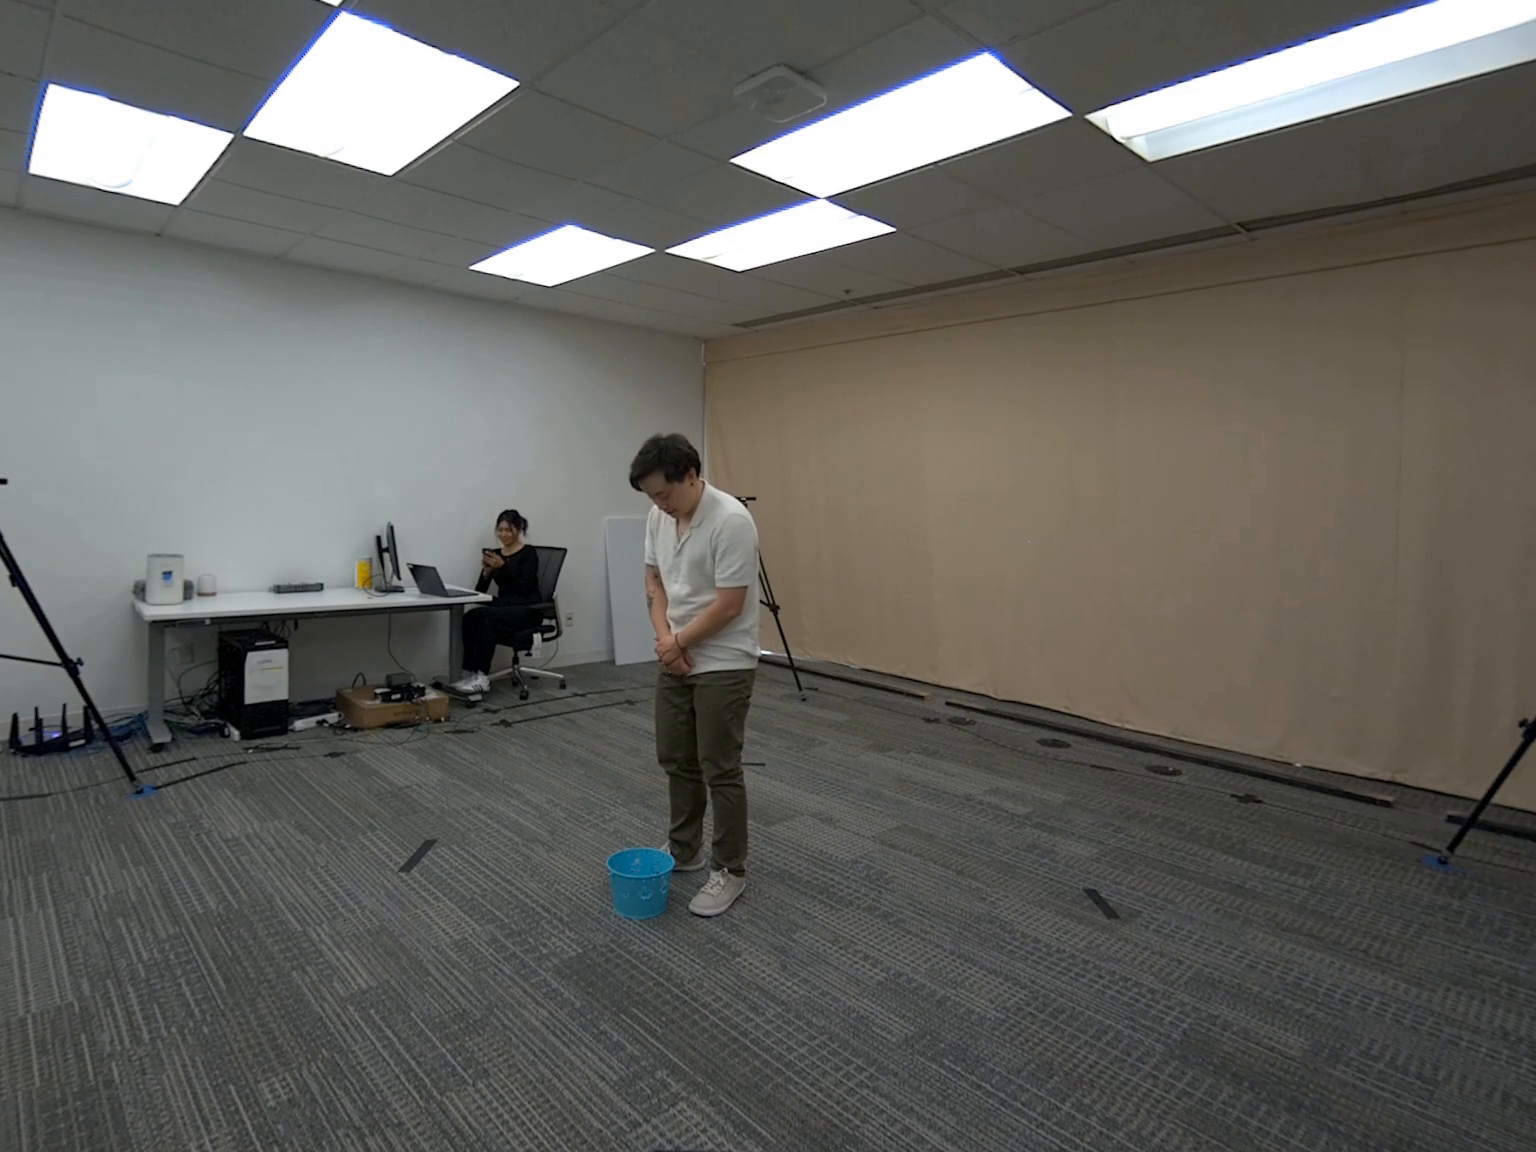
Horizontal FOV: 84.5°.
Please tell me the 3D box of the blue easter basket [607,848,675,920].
[{"bbox_3d":[-0.437,1.043,2.868,0.243,0.155,0.244,1,5,-1],"label":"blue easter basket"}]
